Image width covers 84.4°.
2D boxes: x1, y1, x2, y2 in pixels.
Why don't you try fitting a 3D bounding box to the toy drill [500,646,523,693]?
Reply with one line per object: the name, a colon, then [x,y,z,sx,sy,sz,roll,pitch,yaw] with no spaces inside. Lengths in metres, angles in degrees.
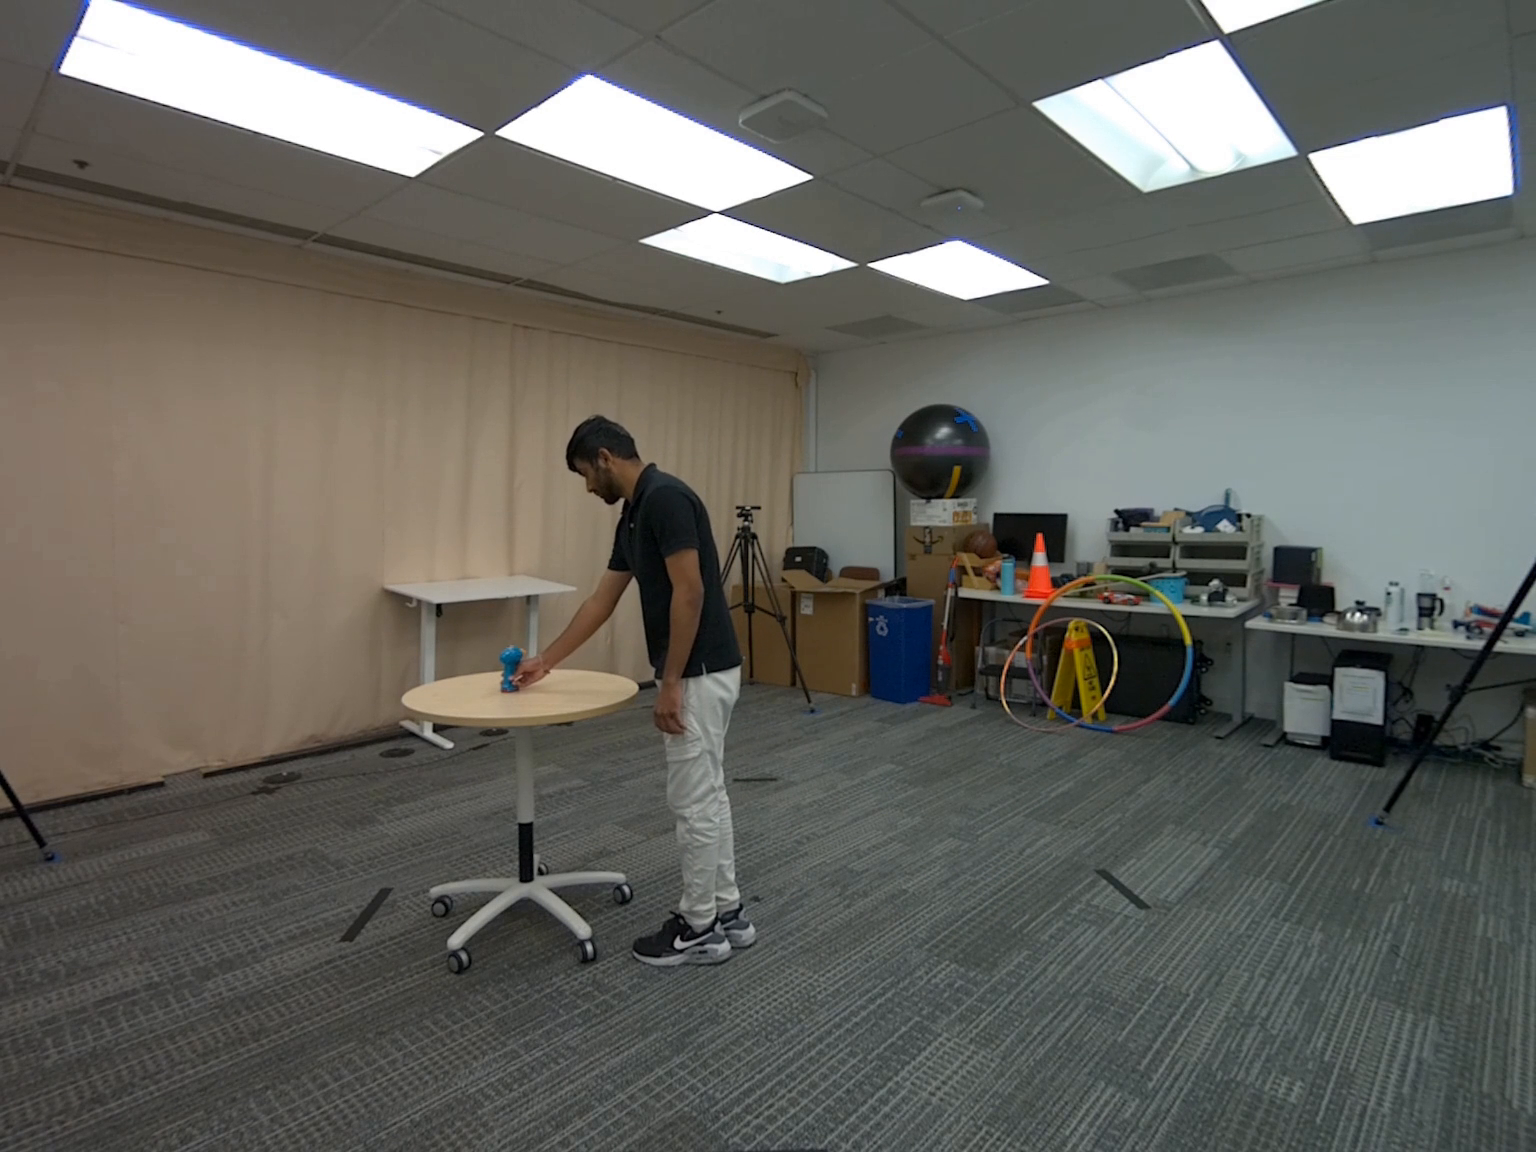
toy drill: [-0.852,0.308,2.837,0.061,0.146,0.169,1,2,2]
